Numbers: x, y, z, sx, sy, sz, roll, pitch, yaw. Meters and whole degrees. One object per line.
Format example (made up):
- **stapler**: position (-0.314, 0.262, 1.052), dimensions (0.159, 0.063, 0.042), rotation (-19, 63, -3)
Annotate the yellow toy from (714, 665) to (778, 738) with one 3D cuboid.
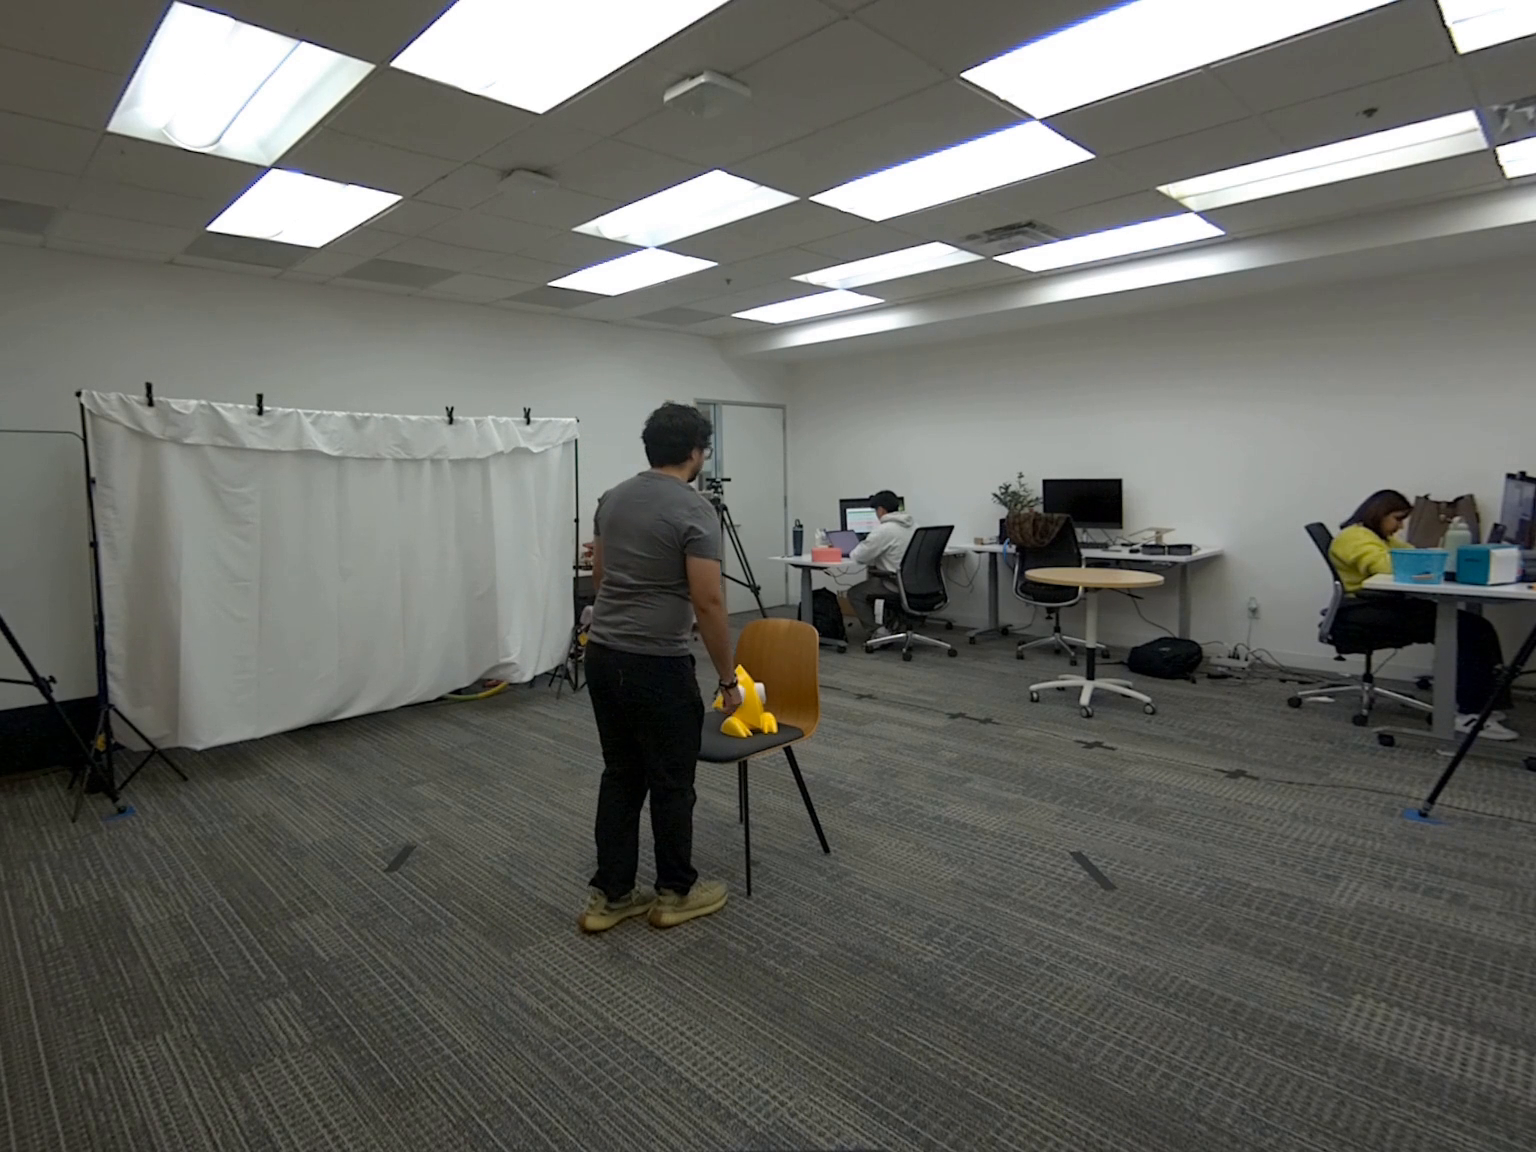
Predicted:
- **yellow toy**: position (-0.066, 0.450, 3.141), dimensions (0.200, 0.230, 0.198), rotation (0, 3, -30)
